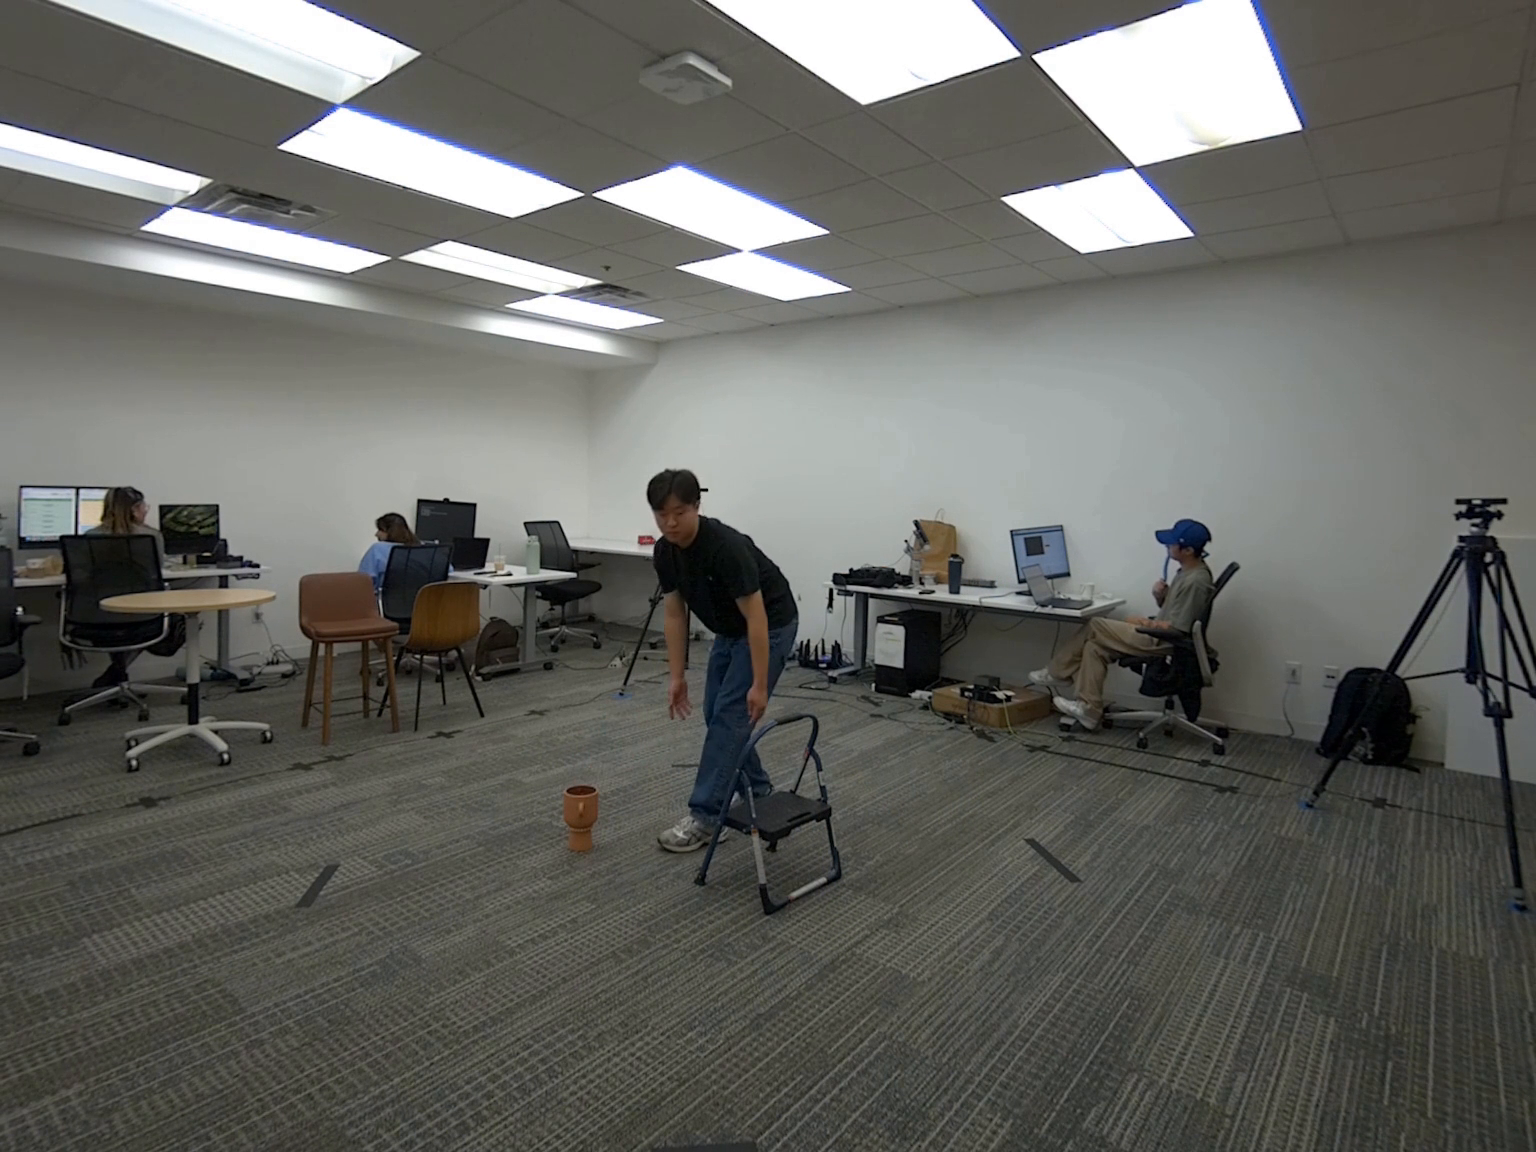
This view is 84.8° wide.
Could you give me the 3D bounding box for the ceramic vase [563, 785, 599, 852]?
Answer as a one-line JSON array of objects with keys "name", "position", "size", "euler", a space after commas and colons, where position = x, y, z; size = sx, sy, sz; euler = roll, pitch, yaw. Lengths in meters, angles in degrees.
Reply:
[{"name": "ceramic vase", "position": [-0.728, 0.930, 3.284], "size": [0.138, 0.219, 0.155], "euler": [3, 3, 28]}]
